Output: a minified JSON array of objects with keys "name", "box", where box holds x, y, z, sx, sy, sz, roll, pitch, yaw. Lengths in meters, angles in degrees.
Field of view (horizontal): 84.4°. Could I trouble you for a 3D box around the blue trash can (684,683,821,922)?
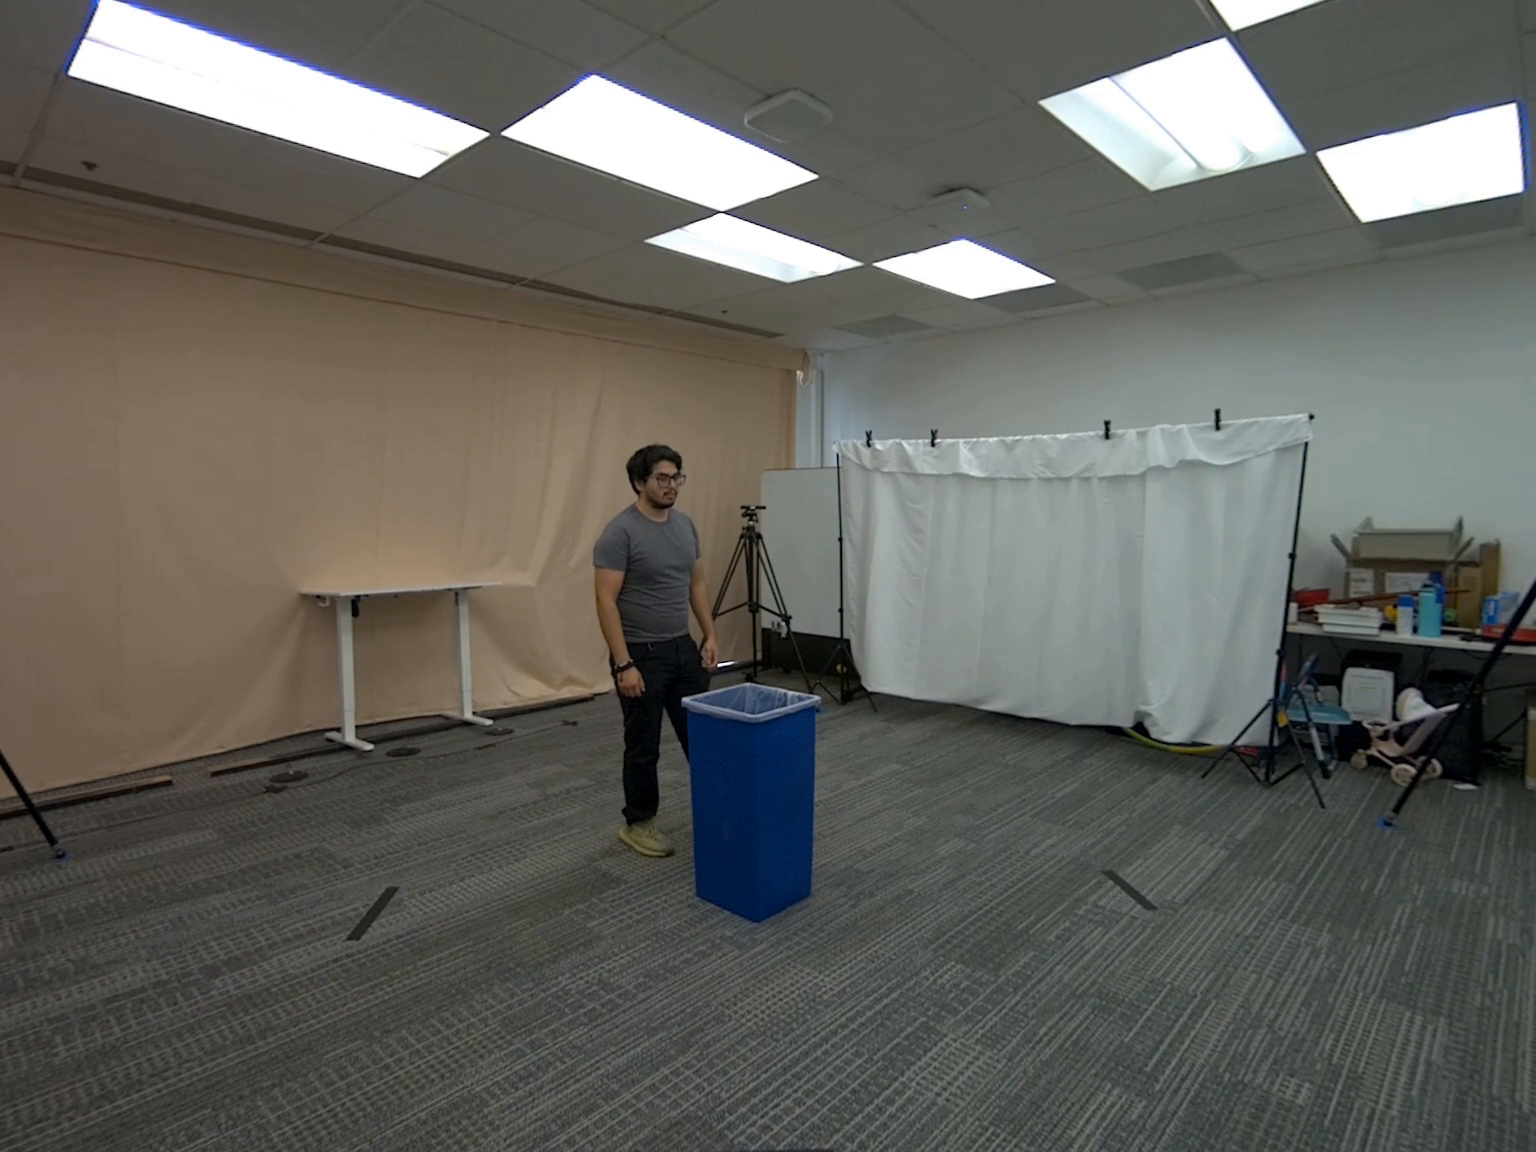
[{"name":"blue trash can","box":[-0.043,0.787,2.991,0.386,0.712,0.366,1,4,42]}]
